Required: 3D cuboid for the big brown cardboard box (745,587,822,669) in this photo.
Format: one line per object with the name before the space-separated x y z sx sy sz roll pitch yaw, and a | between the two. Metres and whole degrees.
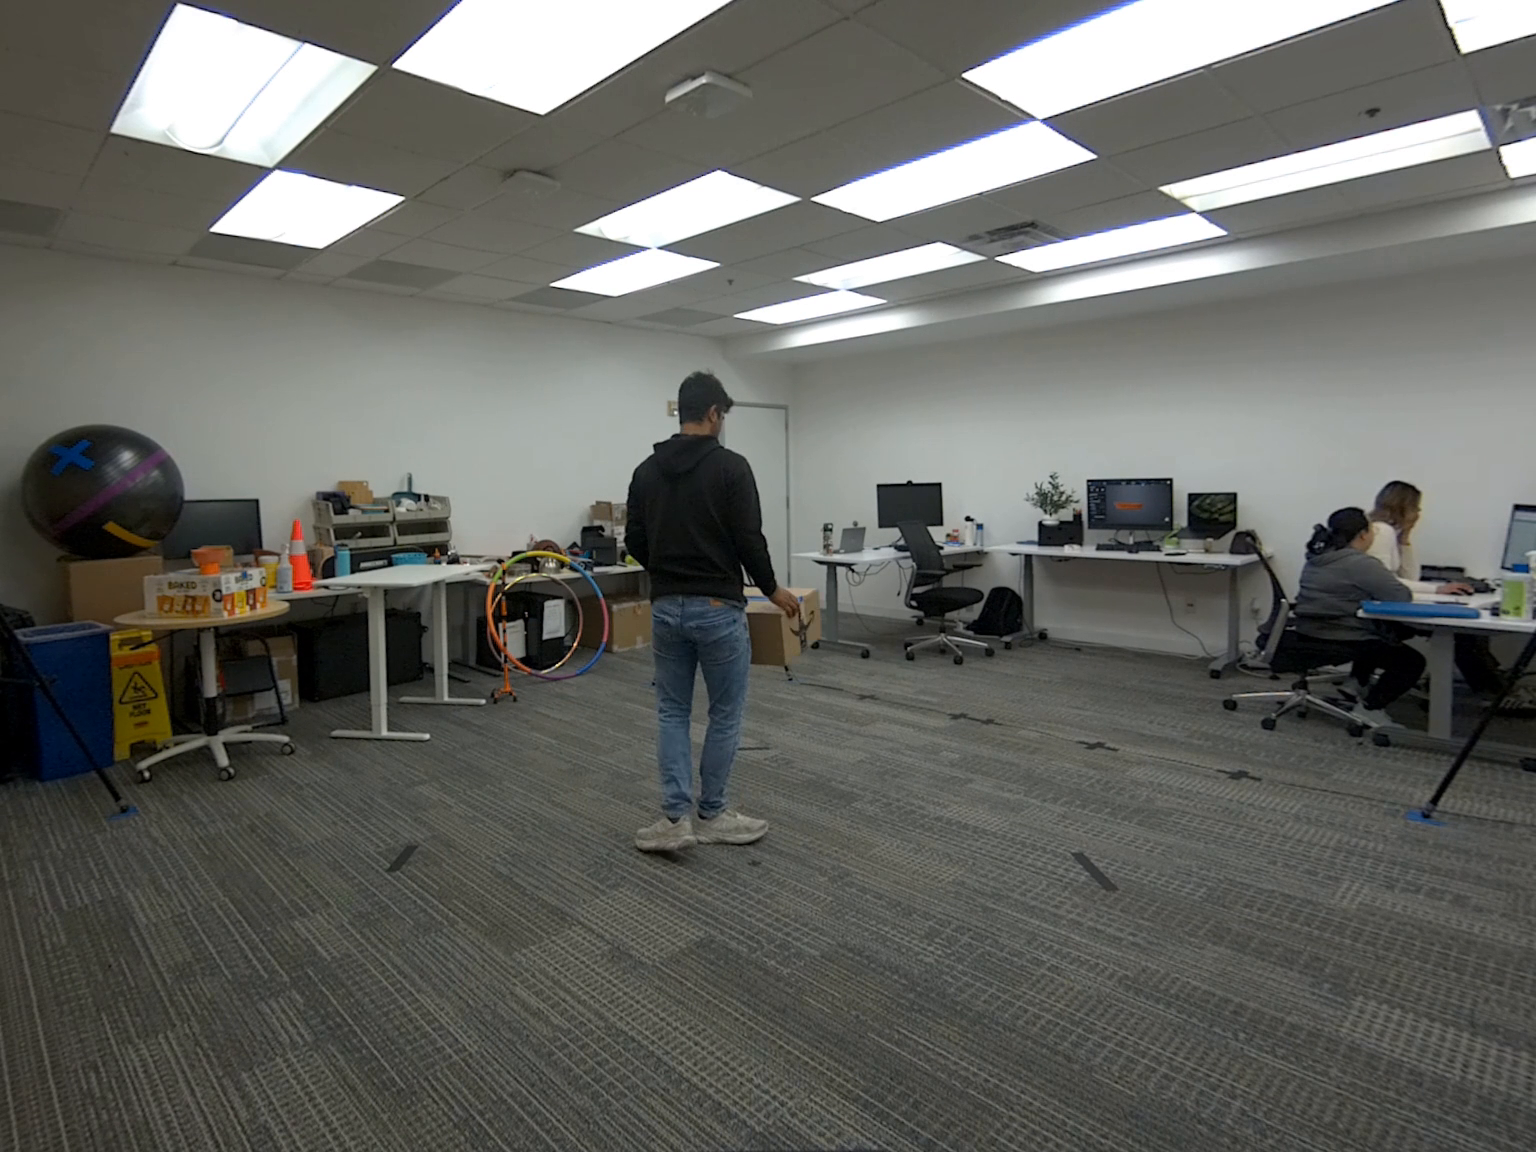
big brown cardboard box | -0.116 0.202 3.608 0.602 0.231 0.412 1 13 25
